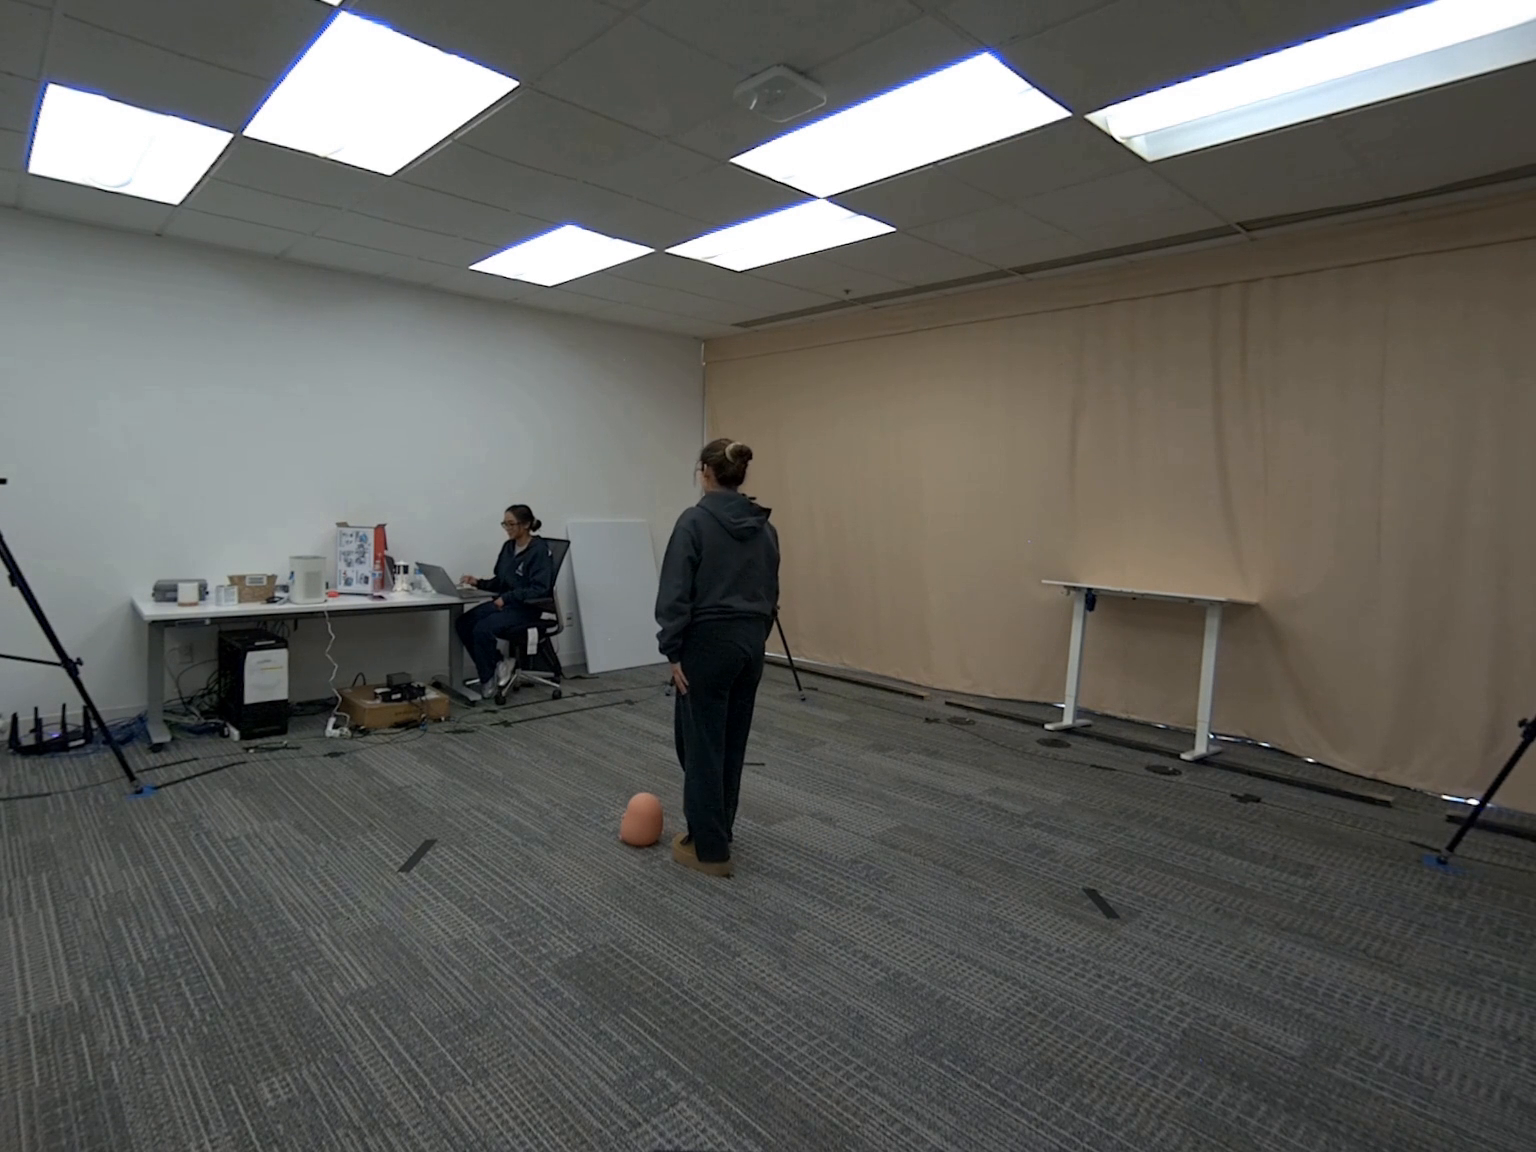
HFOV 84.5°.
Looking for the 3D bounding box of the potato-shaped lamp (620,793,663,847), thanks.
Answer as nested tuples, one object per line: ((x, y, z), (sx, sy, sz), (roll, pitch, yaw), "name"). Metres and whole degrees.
((-0.510, 0.965, 3.401), (0.176, 0.198, 0.161), (4, 4, 40), "potato-shaped lamp")
